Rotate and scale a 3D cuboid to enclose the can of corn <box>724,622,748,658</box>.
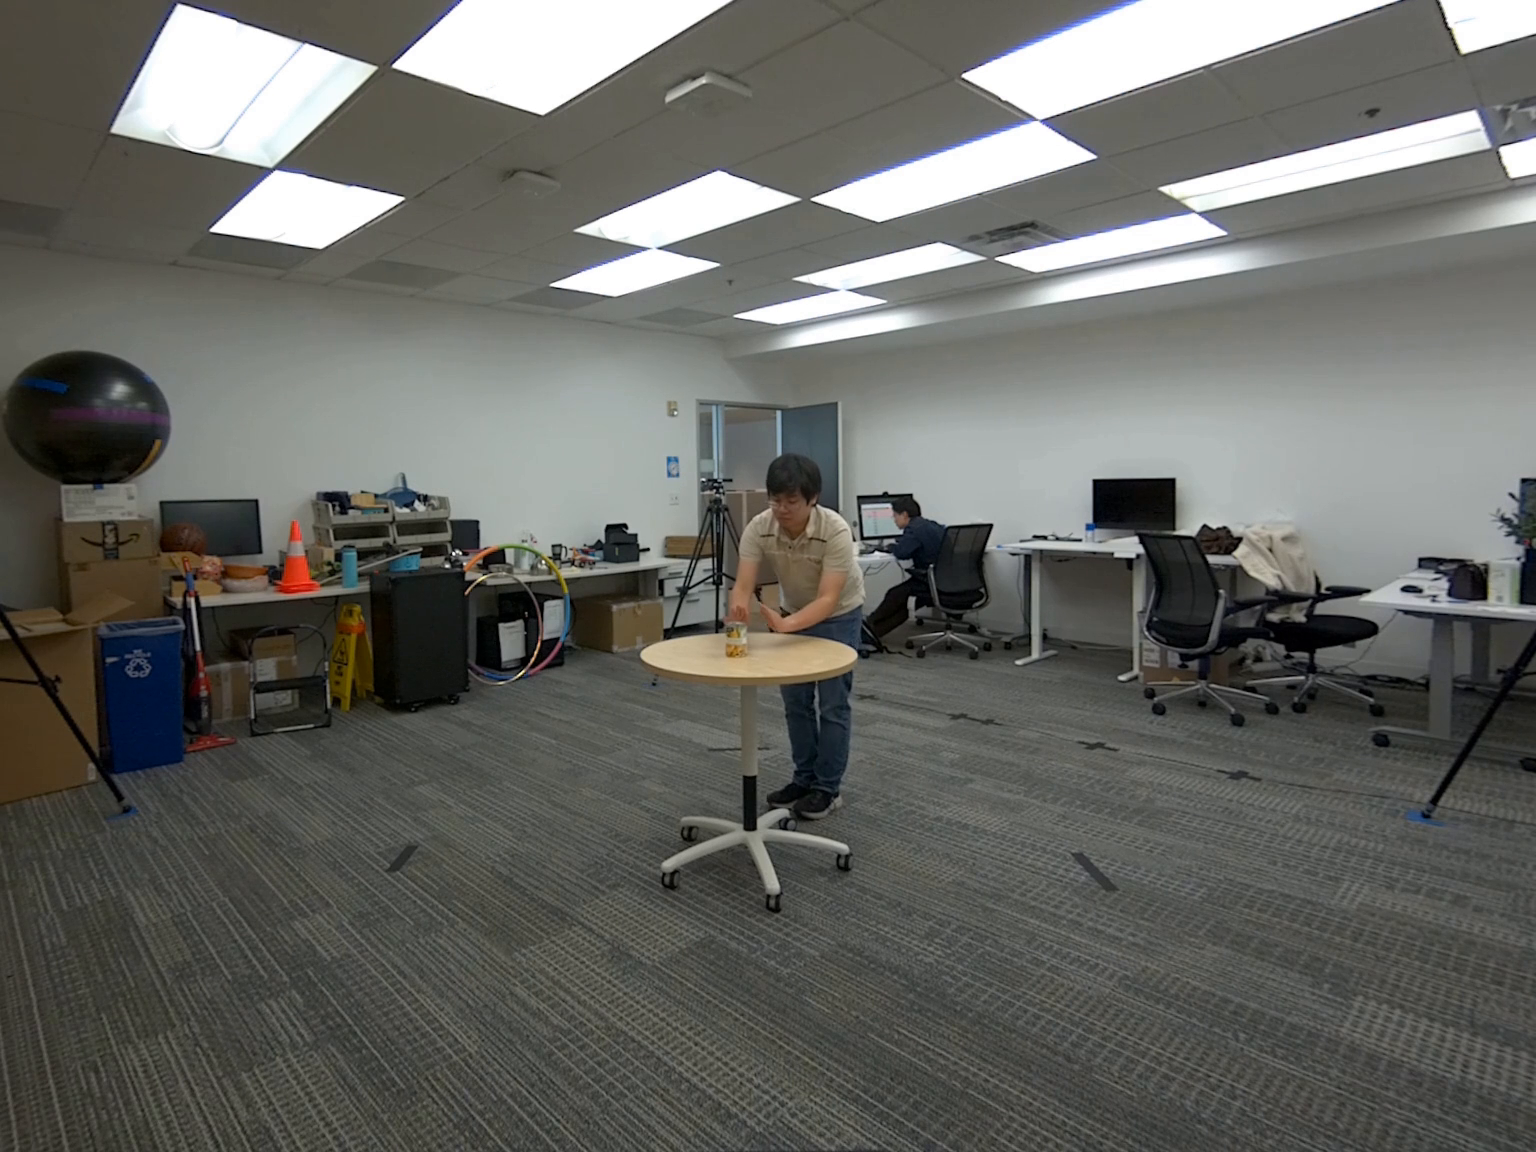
[{"bbox_3d":[-0.112,0.224,2.979,0.074,0.111,0.074,0,4,-2],"label":"can of corn"}]
